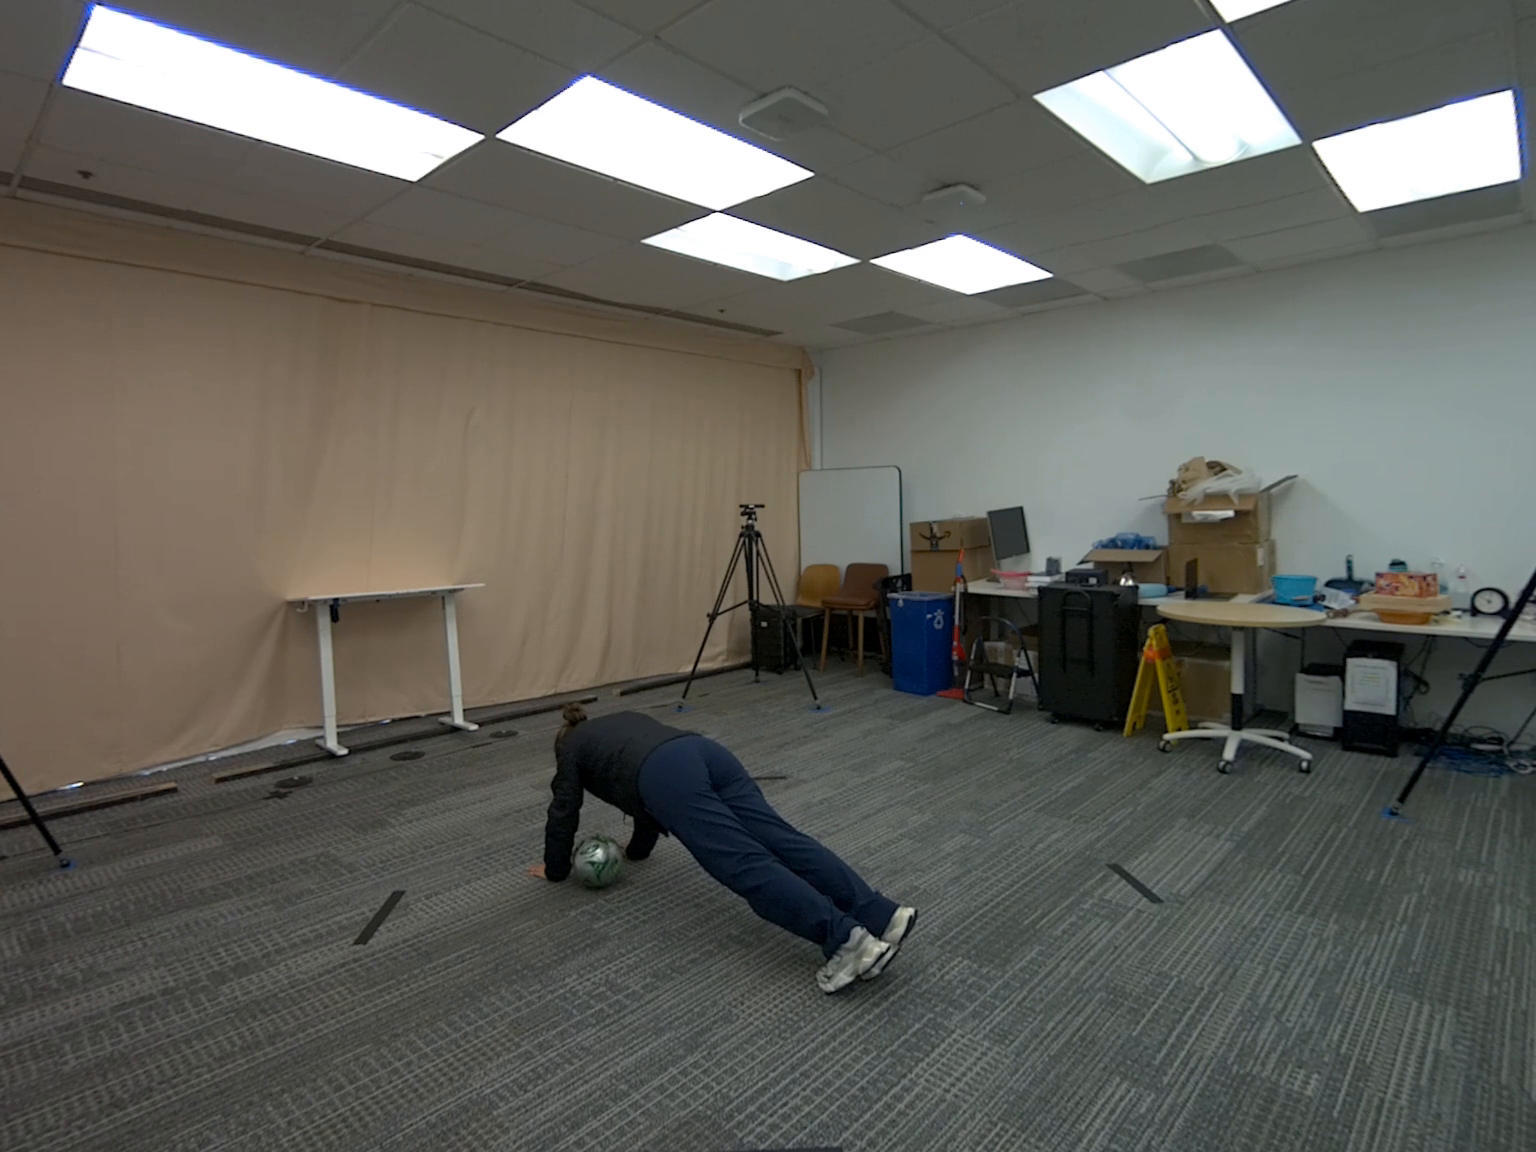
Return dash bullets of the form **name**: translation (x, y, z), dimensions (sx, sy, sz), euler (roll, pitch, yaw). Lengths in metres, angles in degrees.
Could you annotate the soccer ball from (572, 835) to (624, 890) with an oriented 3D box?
- **soccer ball**: translation (-0.631, 1.058, 3.100), dimensions (0.187, 0.187, 0.188), euler (-1, 4, -2)
